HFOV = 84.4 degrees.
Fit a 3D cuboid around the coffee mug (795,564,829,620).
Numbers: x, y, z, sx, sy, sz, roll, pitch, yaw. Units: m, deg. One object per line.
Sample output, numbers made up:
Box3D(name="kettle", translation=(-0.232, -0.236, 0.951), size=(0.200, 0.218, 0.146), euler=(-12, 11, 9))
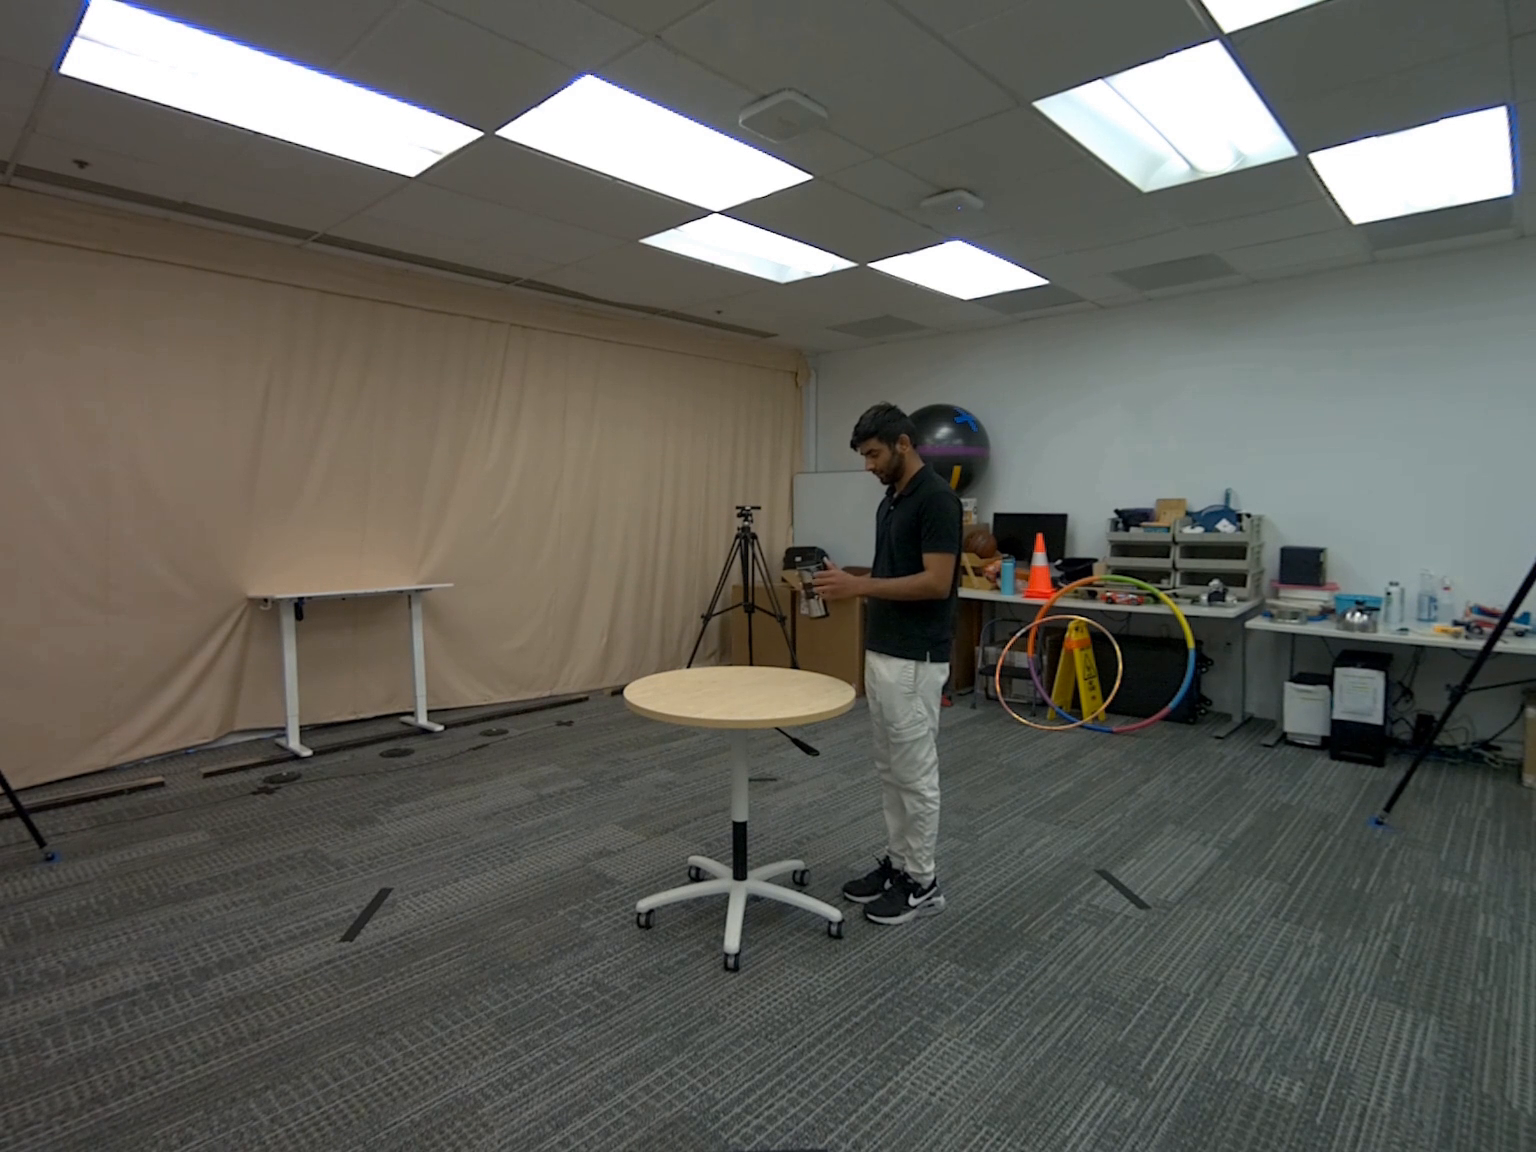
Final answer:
Box3D(name="coffee mug", translation=(0.162, 0.054, 2.923), size=(0.089, 0.202, 0.120), euler=(-6, 3, 18))
